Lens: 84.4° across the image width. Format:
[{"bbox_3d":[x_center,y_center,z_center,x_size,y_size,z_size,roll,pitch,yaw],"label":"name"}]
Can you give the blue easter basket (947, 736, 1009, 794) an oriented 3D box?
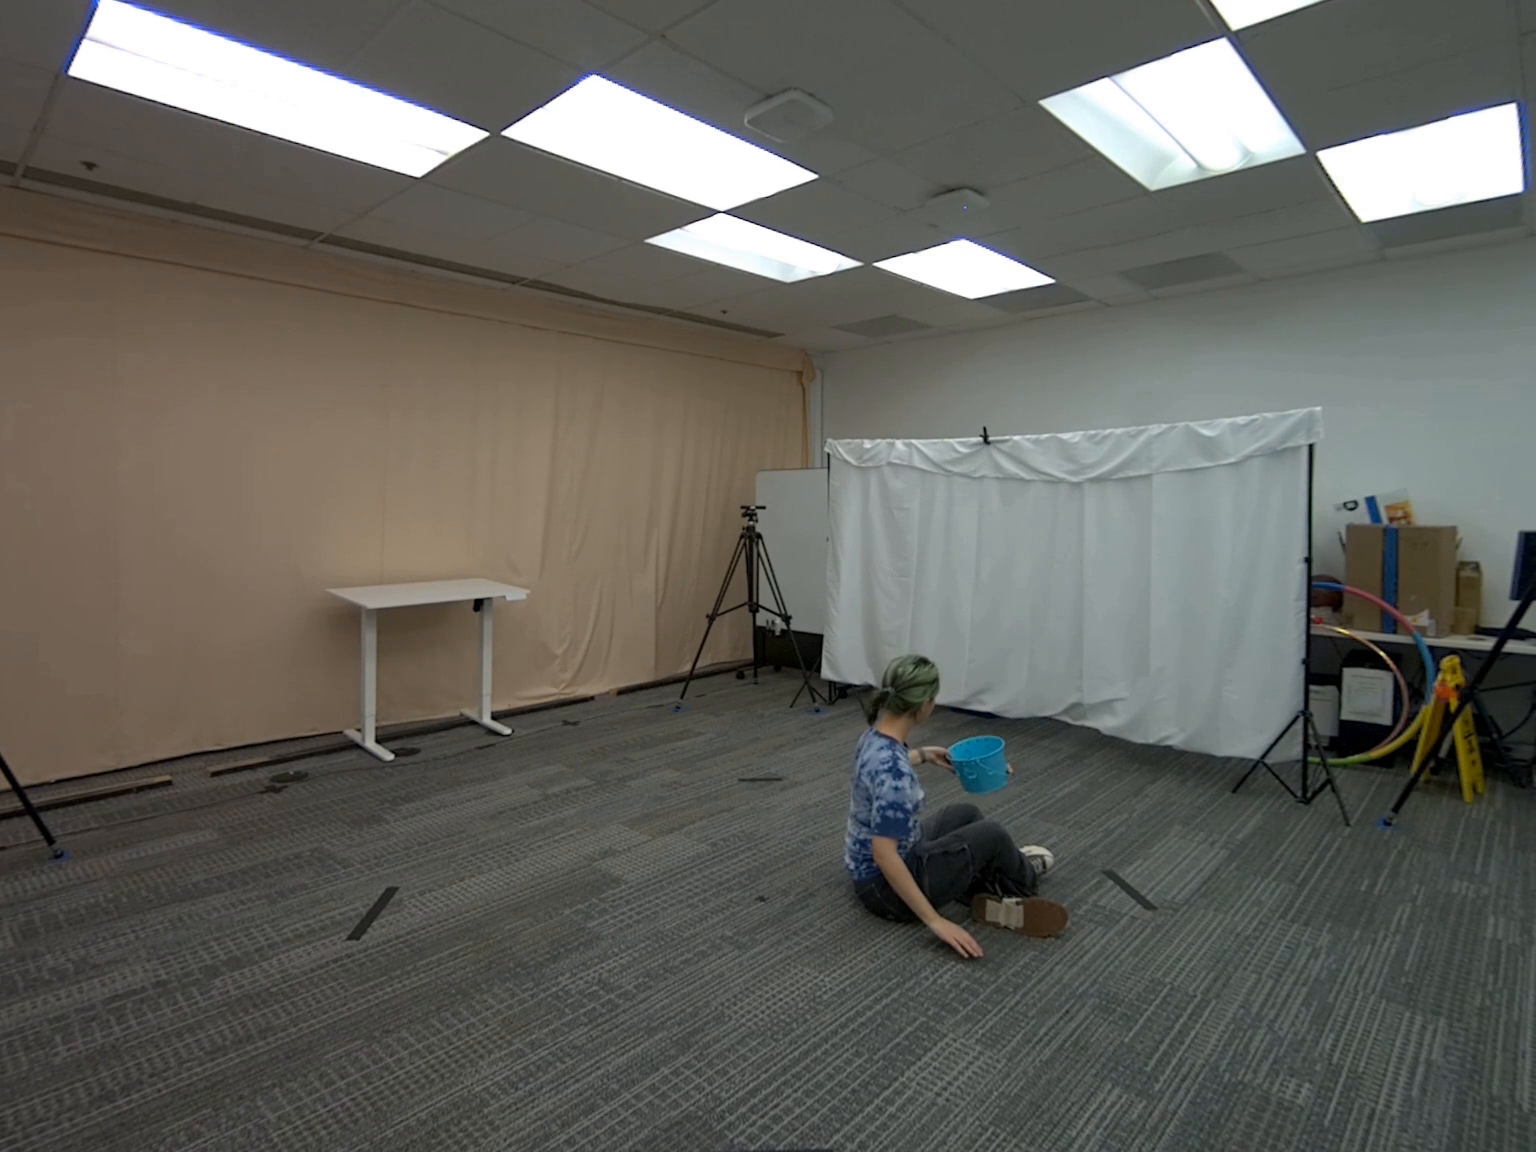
[{"bbox_3d":[0.856,0.767,3.374,0.244,0.155,0.244,-17,6,0],"label":"blue easter basket"}]
